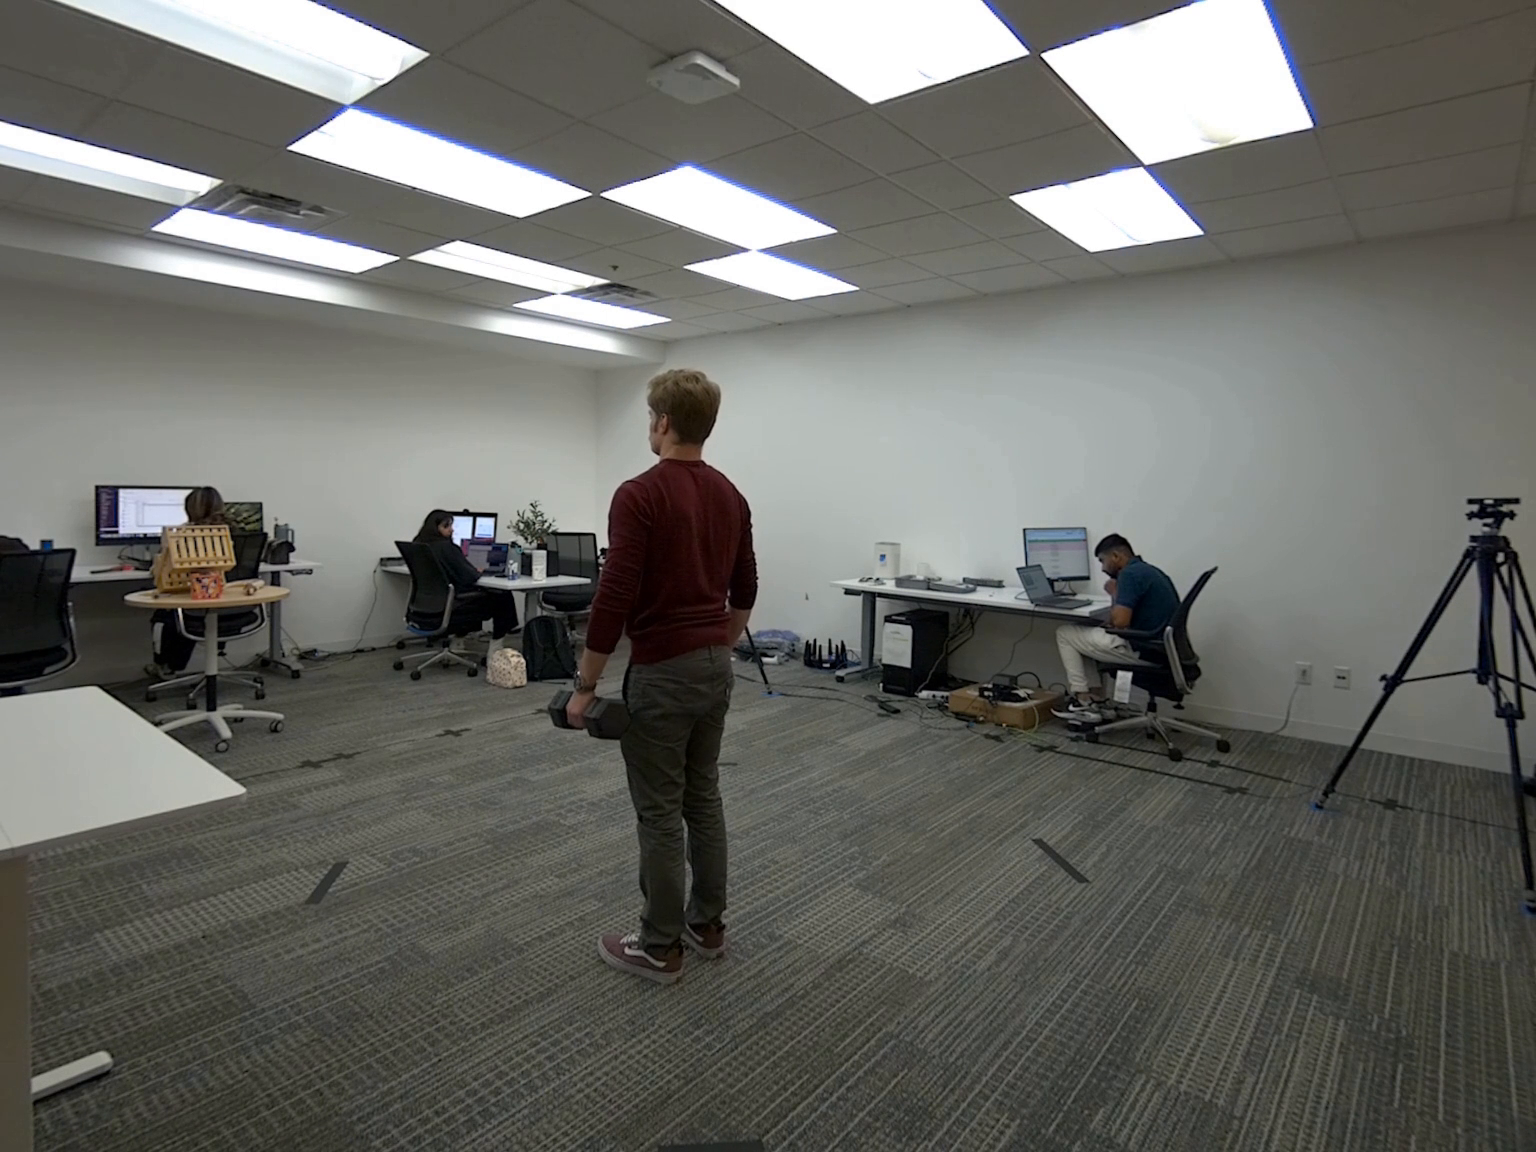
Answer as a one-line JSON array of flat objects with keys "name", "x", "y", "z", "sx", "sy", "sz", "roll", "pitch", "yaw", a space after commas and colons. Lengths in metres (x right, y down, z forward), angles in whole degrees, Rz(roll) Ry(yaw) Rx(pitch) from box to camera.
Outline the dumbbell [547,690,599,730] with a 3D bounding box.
[{"name": "dumbbell", "x": -0.508, "y": 0.372, "z": 2.369, "sx": 0.302, "sy": 0.123, "sz": 0.105, "roll": -2, "pitch": -40, "yaw": 51}]
